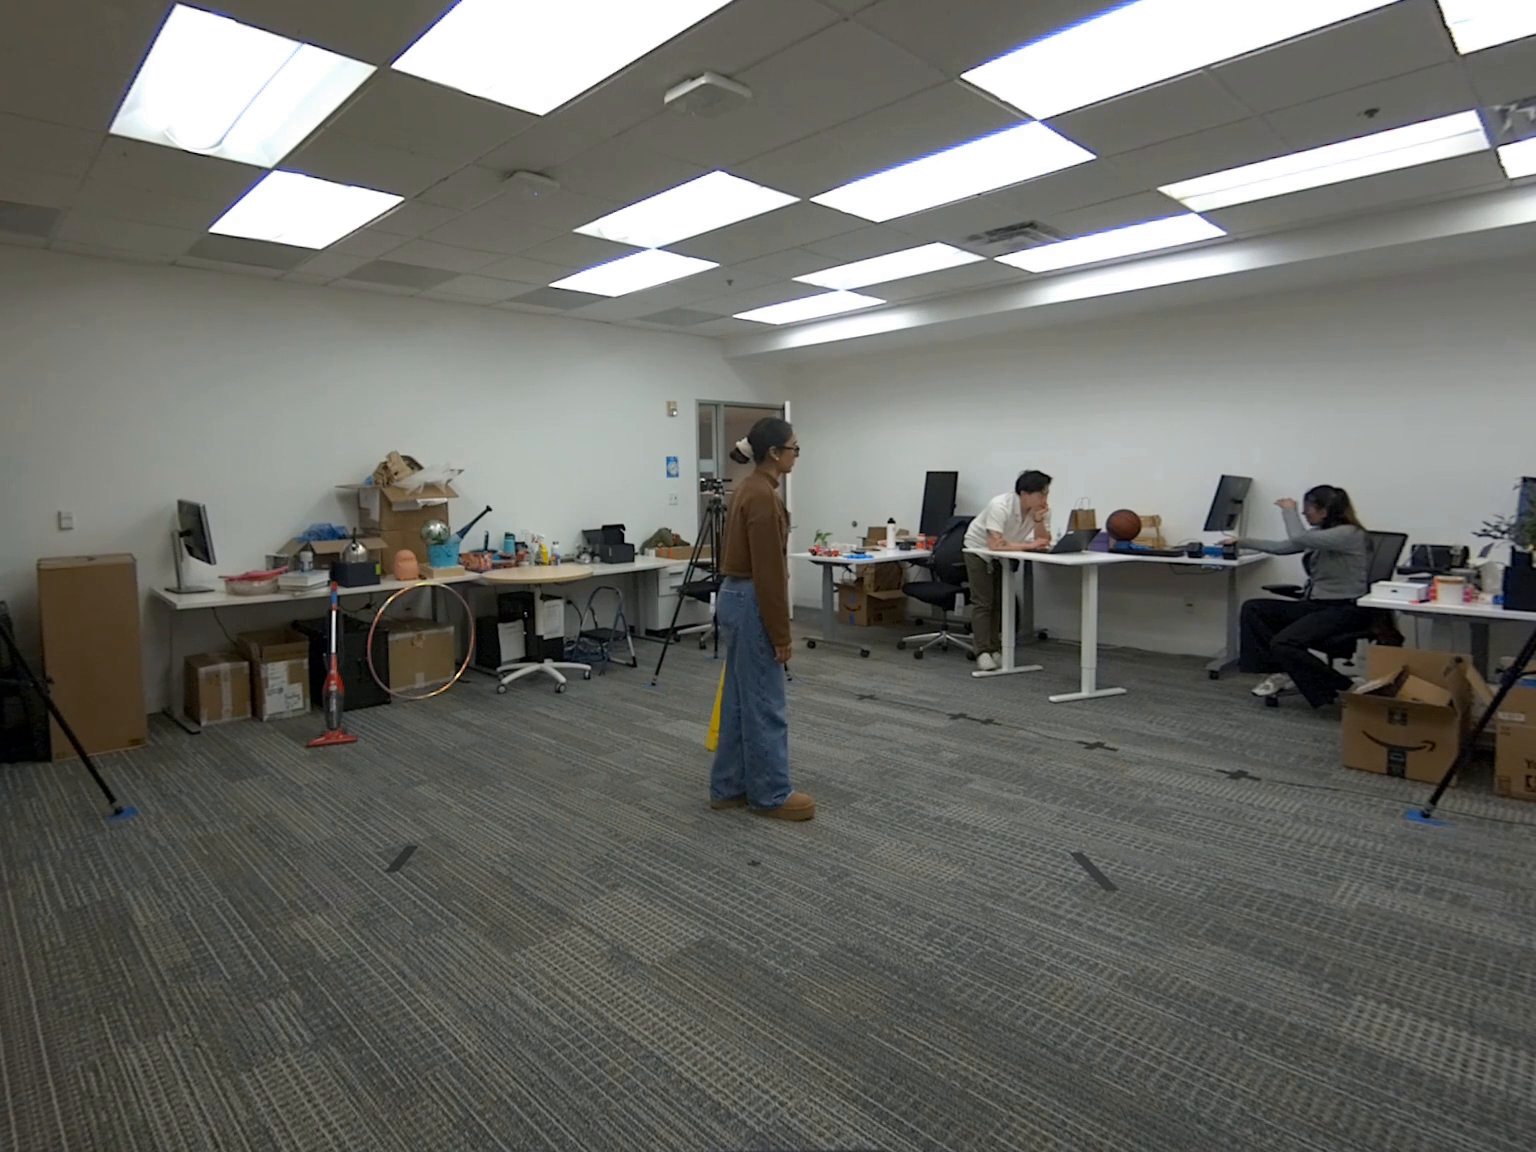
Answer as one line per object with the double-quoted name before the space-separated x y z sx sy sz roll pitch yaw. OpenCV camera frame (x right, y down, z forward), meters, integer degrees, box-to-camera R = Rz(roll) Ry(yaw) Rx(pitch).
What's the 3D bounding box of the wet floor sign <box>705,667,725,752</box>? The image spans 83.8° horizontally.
"wet floor sign" -0.094 0.507 3.956 0.282 0.642 0.291 -4 9 -33
